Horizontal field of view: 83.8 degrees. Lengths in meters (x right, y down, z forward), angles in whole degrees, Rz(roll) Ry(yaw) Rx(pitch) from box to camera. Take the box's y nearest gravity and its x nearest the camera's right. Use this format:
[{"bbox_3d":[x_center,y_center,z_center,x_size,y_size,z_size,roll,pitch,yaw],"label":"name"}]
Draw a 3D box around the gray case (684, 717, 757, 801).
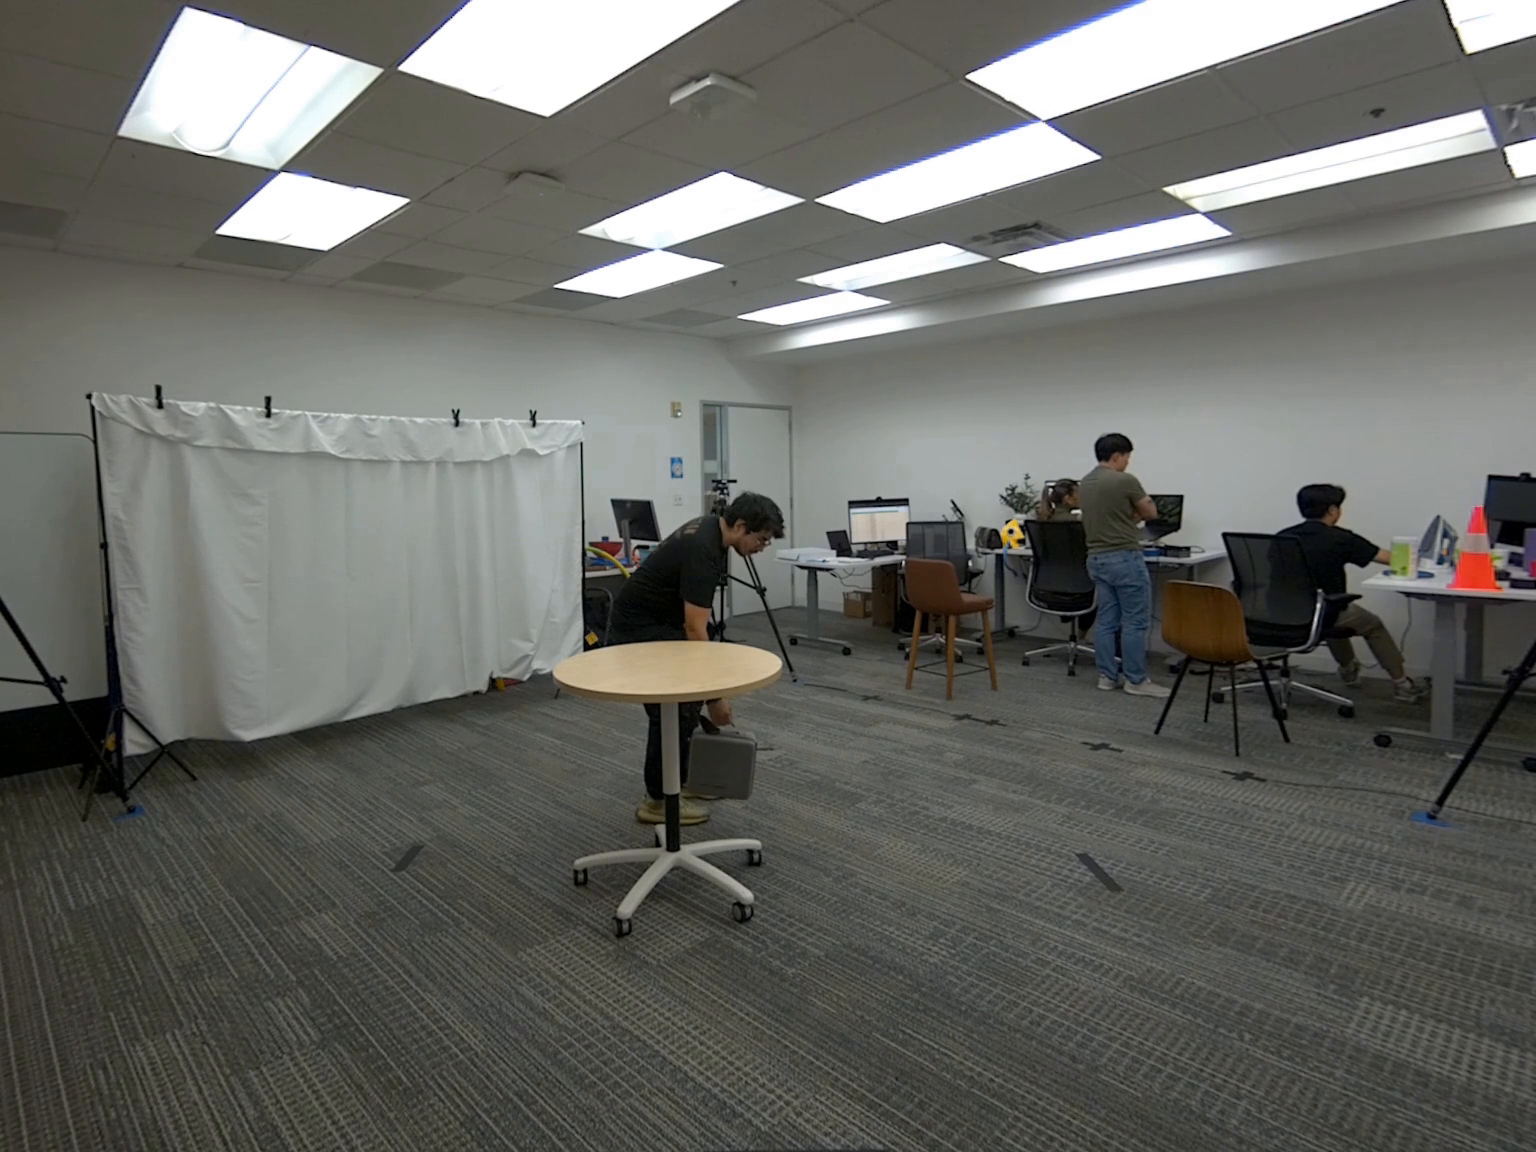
[{"bbox_3d":[-0.180,0.722,3.327,0.257,0.259,0.105,5,9,0],"label":"gray case"}]
